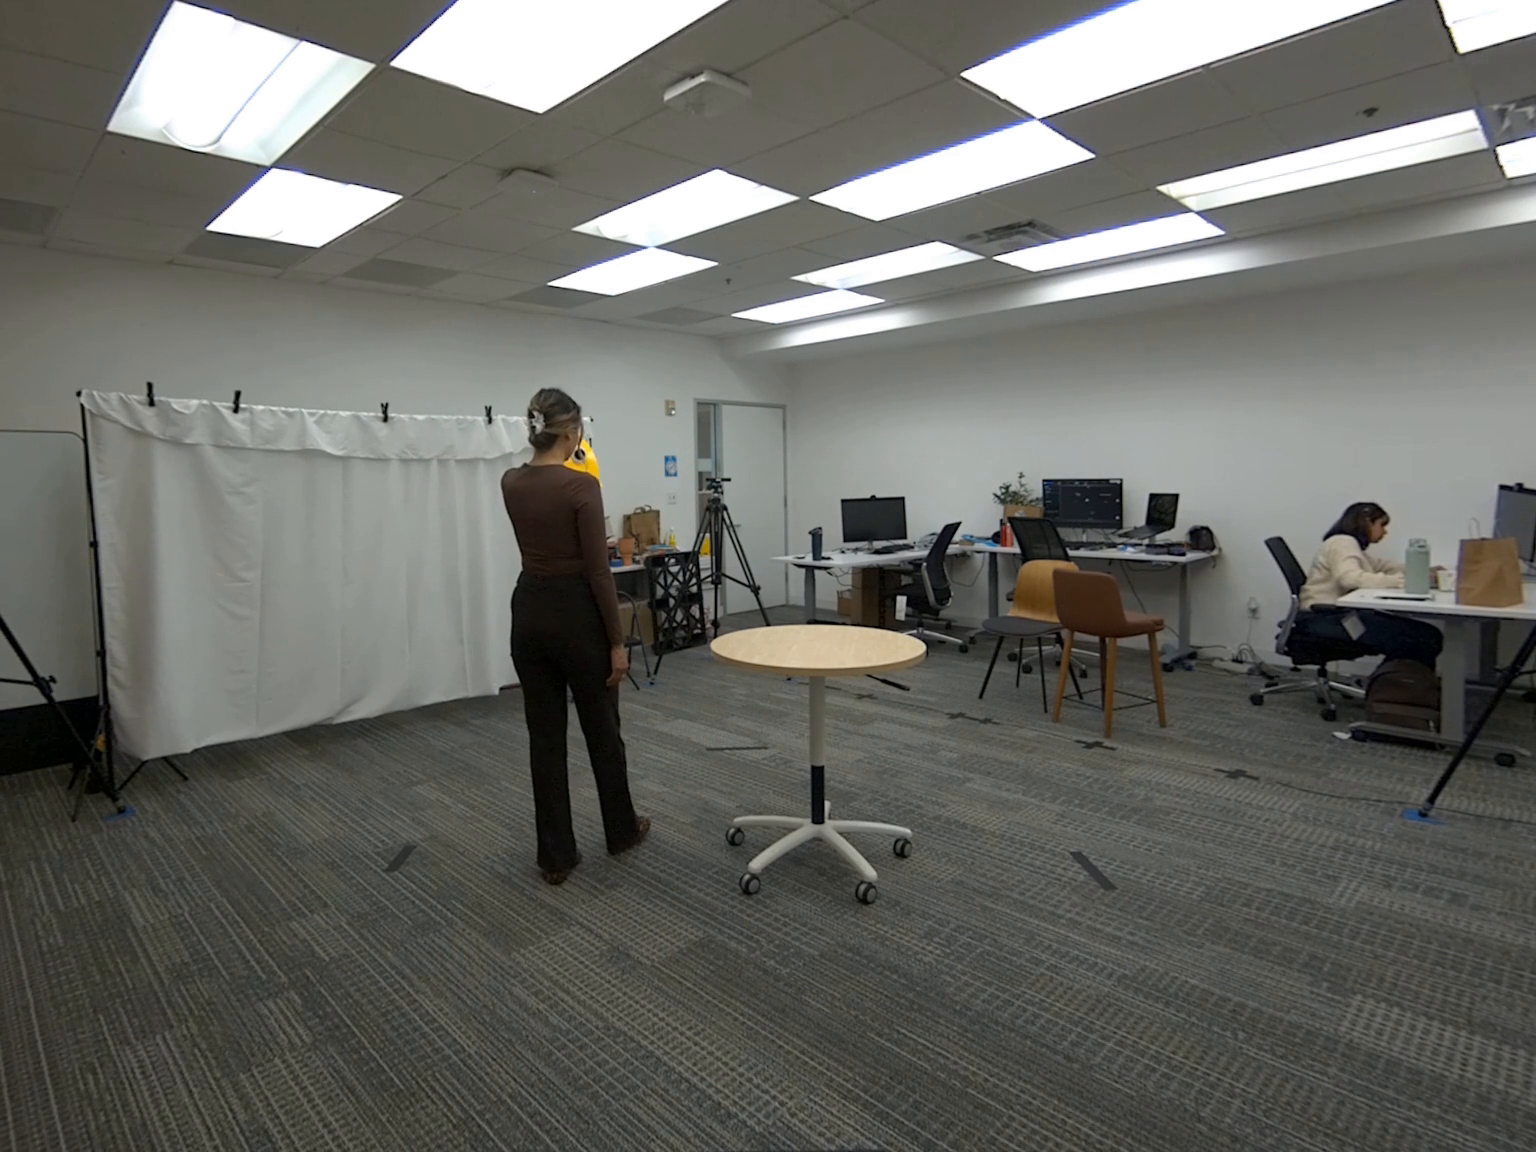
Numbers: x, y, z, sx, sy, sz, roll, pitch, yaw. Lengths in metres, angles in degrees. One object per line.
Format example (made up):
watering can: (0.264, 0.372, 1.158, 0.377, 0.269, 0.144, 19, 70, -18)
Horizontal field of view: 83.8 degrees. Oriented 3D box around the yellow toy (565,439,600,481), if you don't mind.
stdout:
yellow toy: (-0.811, -0.511, 3.697, 0.195, 0.230, 0.203, 9, 5, 9)
